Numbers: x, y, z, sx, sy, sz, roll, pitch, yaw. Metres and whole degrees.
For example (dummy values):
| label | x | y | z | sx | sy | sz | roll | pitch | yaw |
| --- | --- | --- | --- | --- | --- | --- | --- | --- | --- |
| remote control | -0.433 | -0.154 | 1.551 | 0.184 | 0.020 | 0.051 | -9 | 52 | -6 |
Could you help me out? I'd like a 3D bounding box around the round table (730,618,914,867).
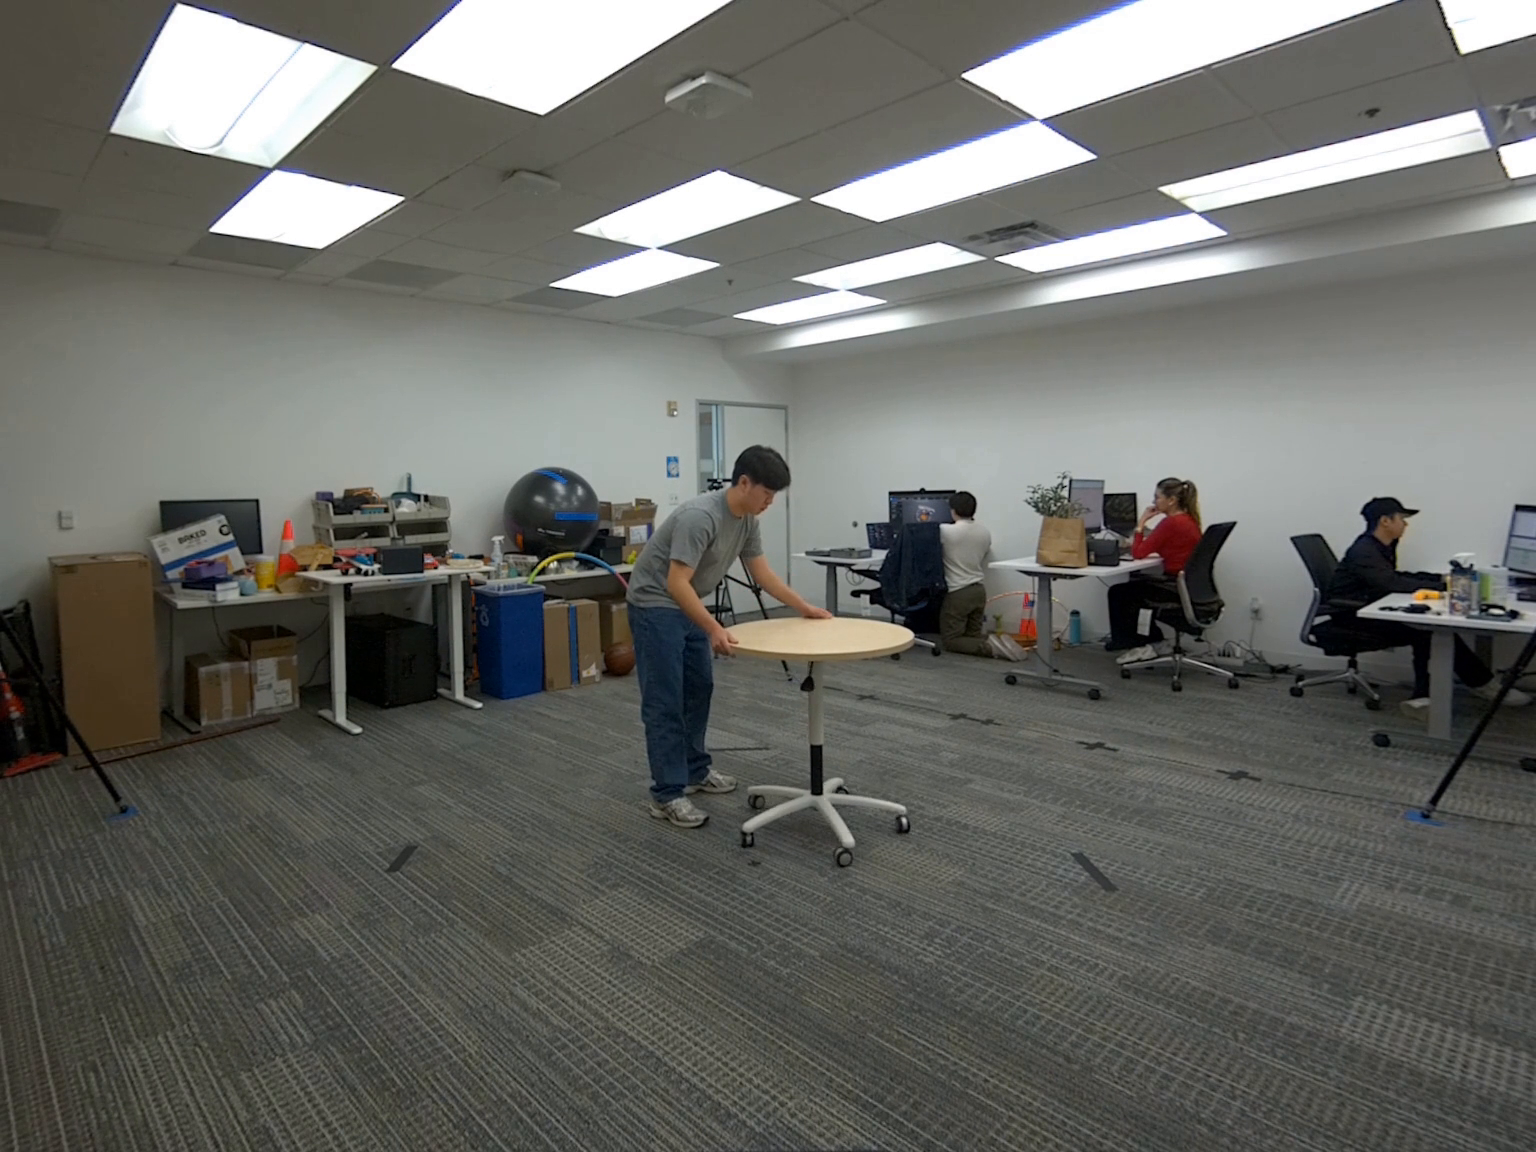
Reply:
| label | x | y | z | sx | sy | sz | roll | pitch | yaw |
| --- | --- | --- | --- | --- | --- | --- | --- | --- | --- |
| round table | 0.187 | 0.618 | 3.384 | 0.763 | 0.791 | 0.768 | -1 | 5 | -2 |
